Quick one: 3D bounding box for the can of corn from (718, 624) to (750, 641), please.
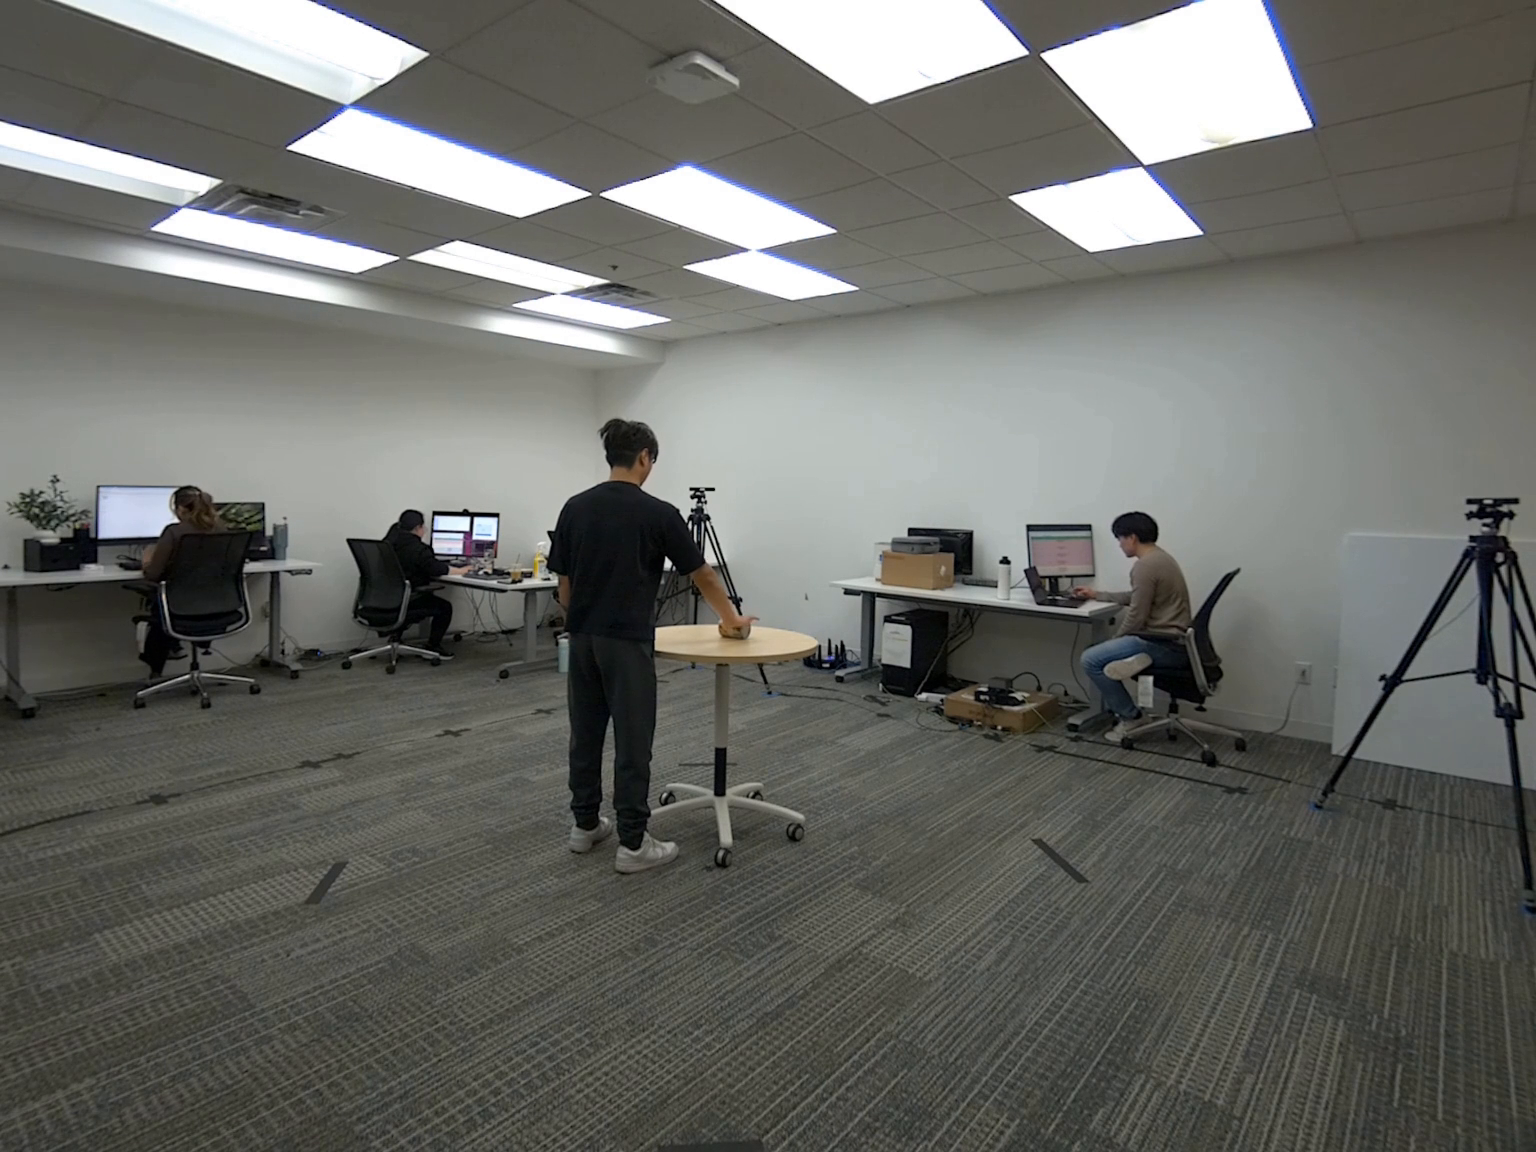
[{"bbox_3d":[-0.147,0.213,3.490,0.114,0.074,0.072,4,5,30],"label":"can of corn"}]
